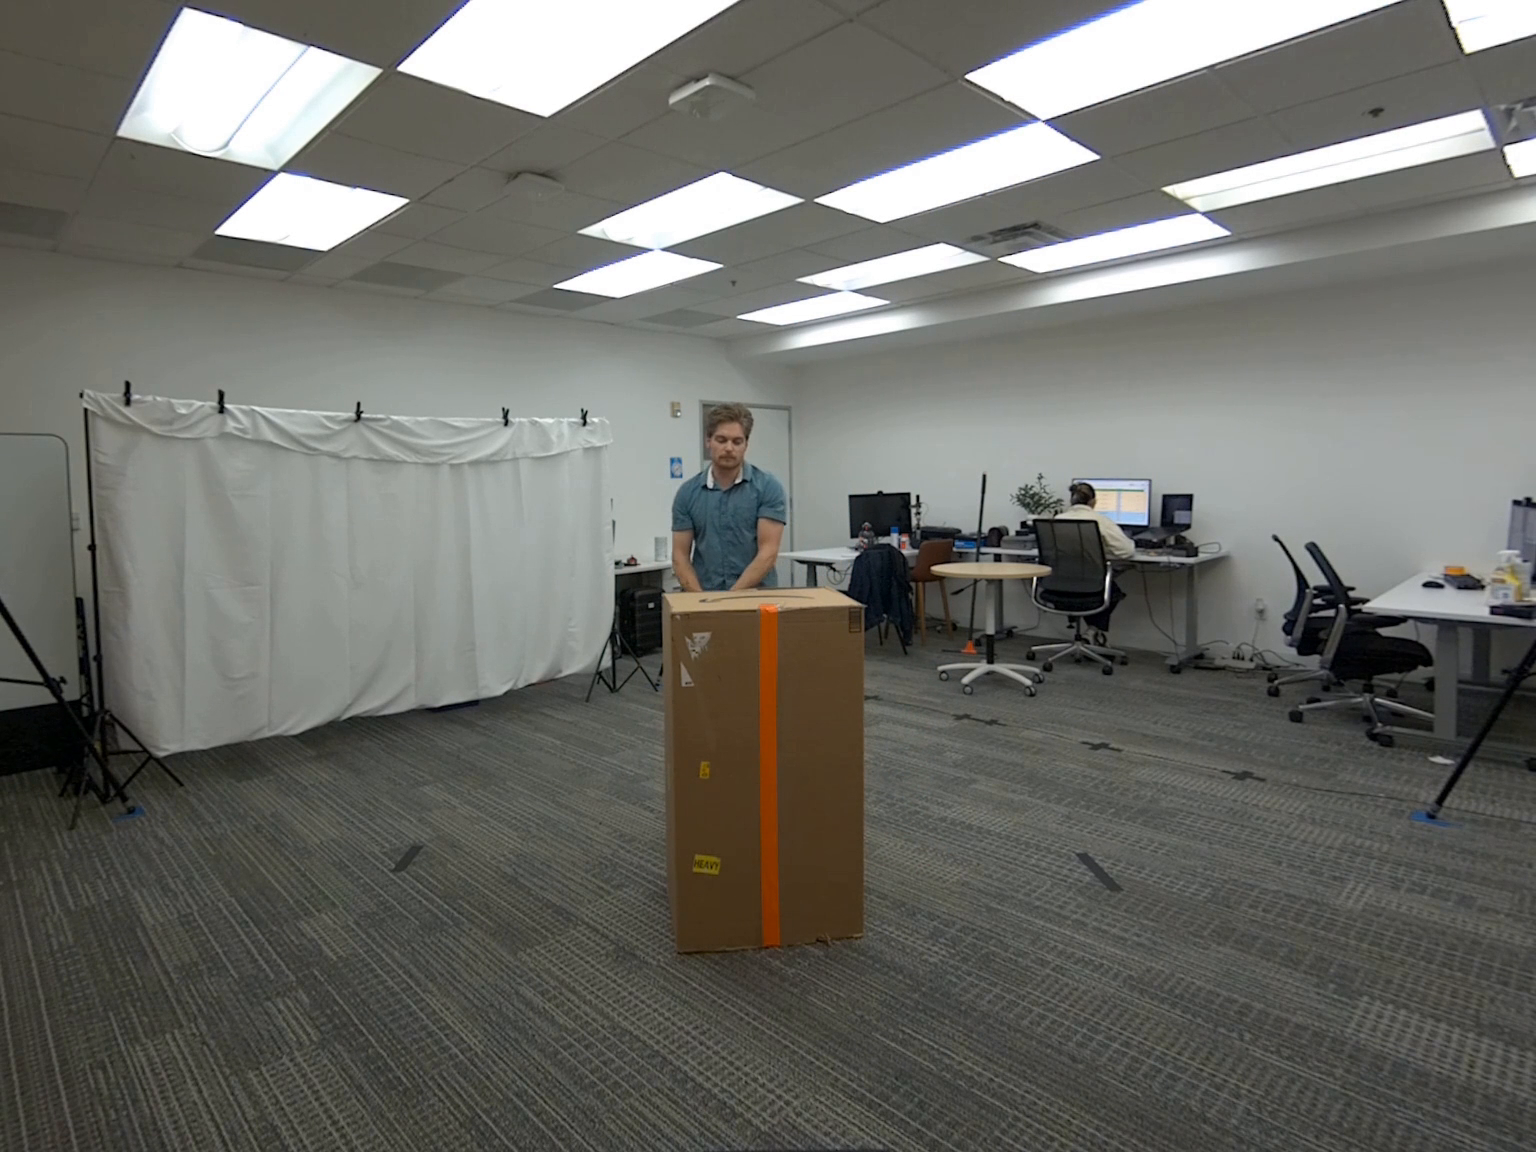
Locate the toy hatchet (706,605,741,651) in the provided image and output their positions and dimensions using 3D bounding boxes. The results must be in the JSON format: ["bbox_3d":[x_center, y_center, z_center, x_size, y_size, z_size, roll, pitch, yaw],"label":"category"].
[{"bbox_3d":[-0.171,0.197,3.234,0.029,0.133,0.272,11,-16,-19],"label":"toy hatchet"}]
